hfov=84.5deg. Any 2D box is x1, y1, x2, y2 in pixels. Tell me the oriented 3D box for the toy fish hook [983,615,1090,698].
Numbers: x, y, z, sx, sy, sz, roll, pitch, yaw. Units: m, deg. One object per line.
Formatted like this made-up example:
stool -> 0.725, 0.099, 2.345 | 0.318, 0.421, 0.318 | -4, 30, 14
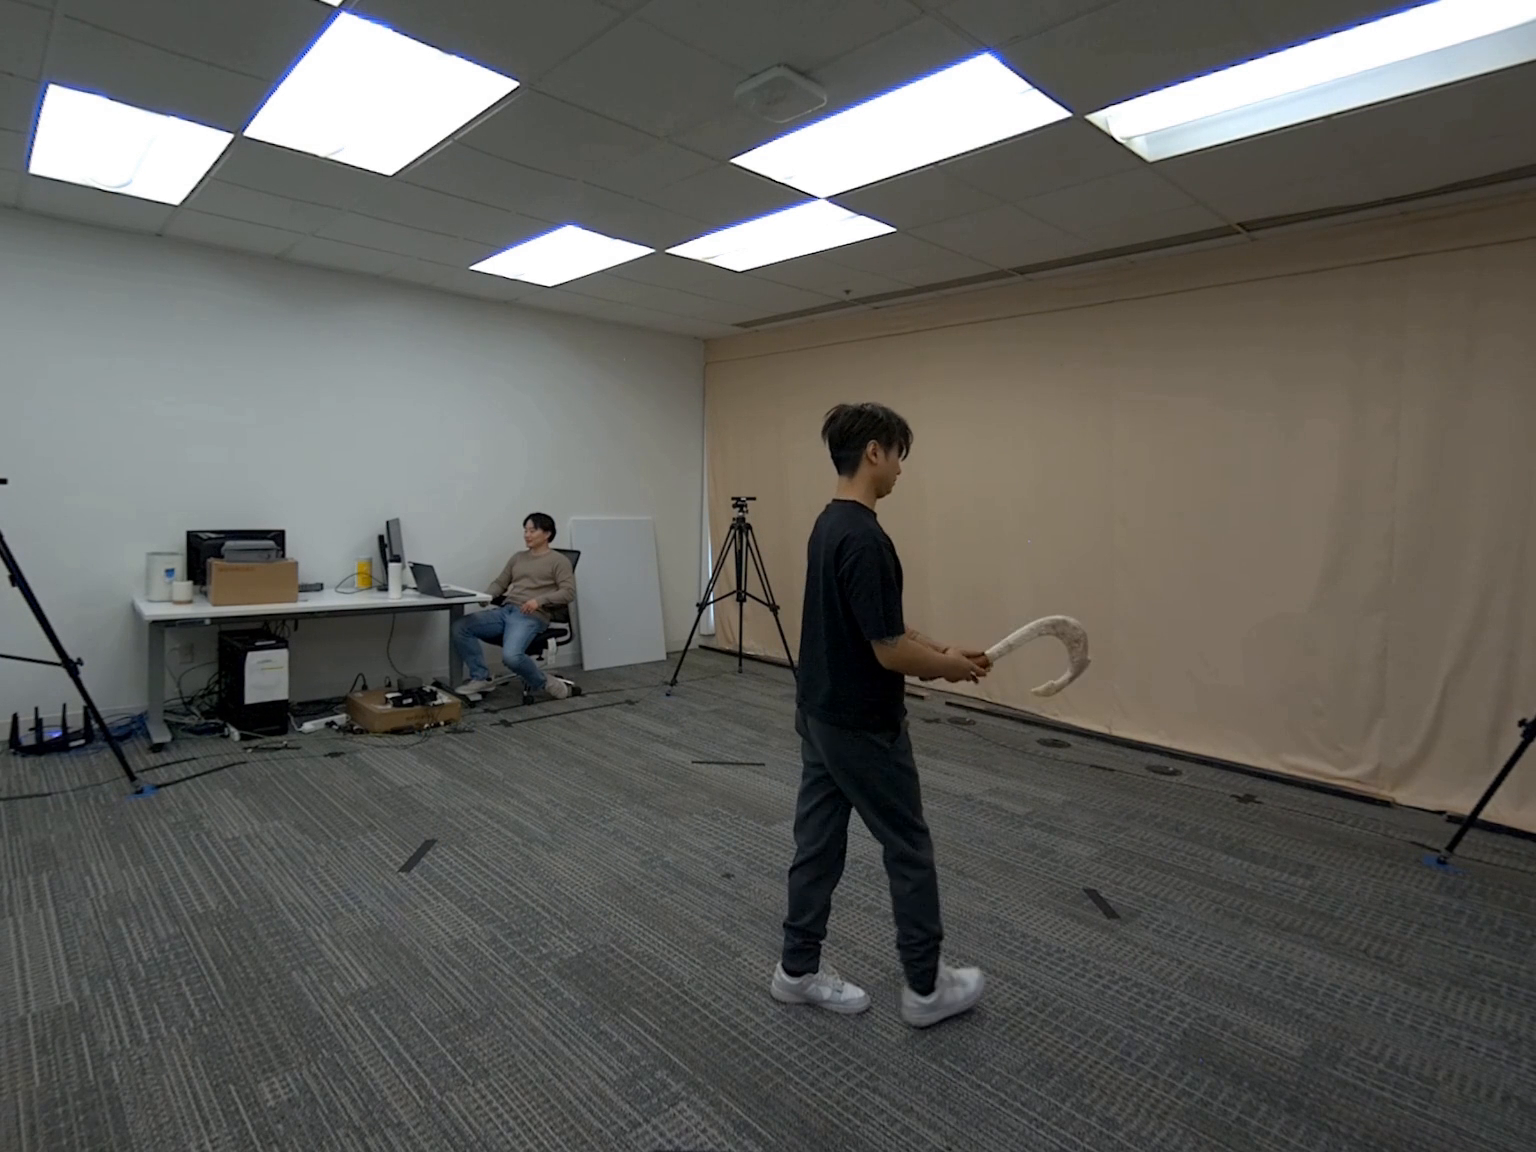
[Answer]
toy fish hook -> 0.663, 0.283, 2.362 | 0.504, 0.224, 0.048 | -13, 2, -8
